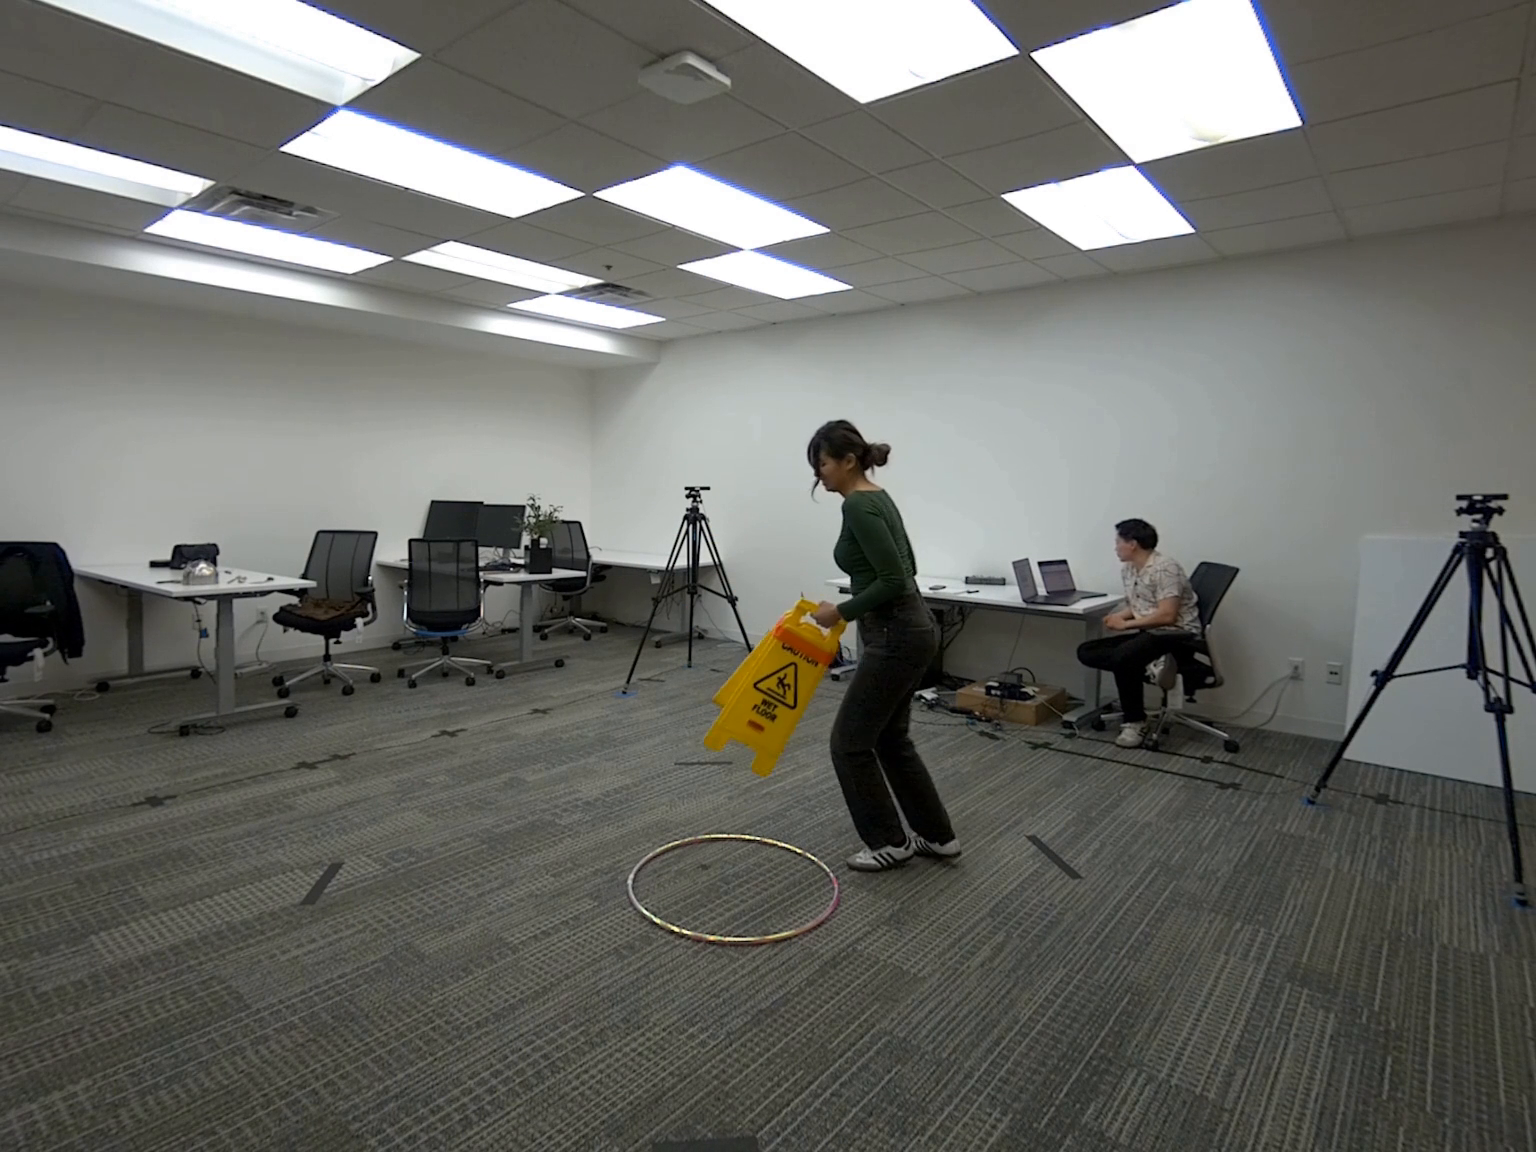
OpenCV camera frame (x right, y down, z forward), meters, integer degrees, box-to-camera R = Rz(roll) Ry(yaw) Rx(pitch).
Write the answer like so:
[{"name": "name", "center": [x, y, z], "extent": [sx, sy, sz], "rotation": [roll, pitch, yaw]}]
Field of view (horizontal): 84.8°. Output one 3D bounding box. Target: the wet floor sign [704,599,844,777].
[{"name": "wet floor sign", "center": [0.072, 0.349, 3.153], "extent": [0.280, 0.642, 0.294], "rotation": [29, 22, -7]}]
